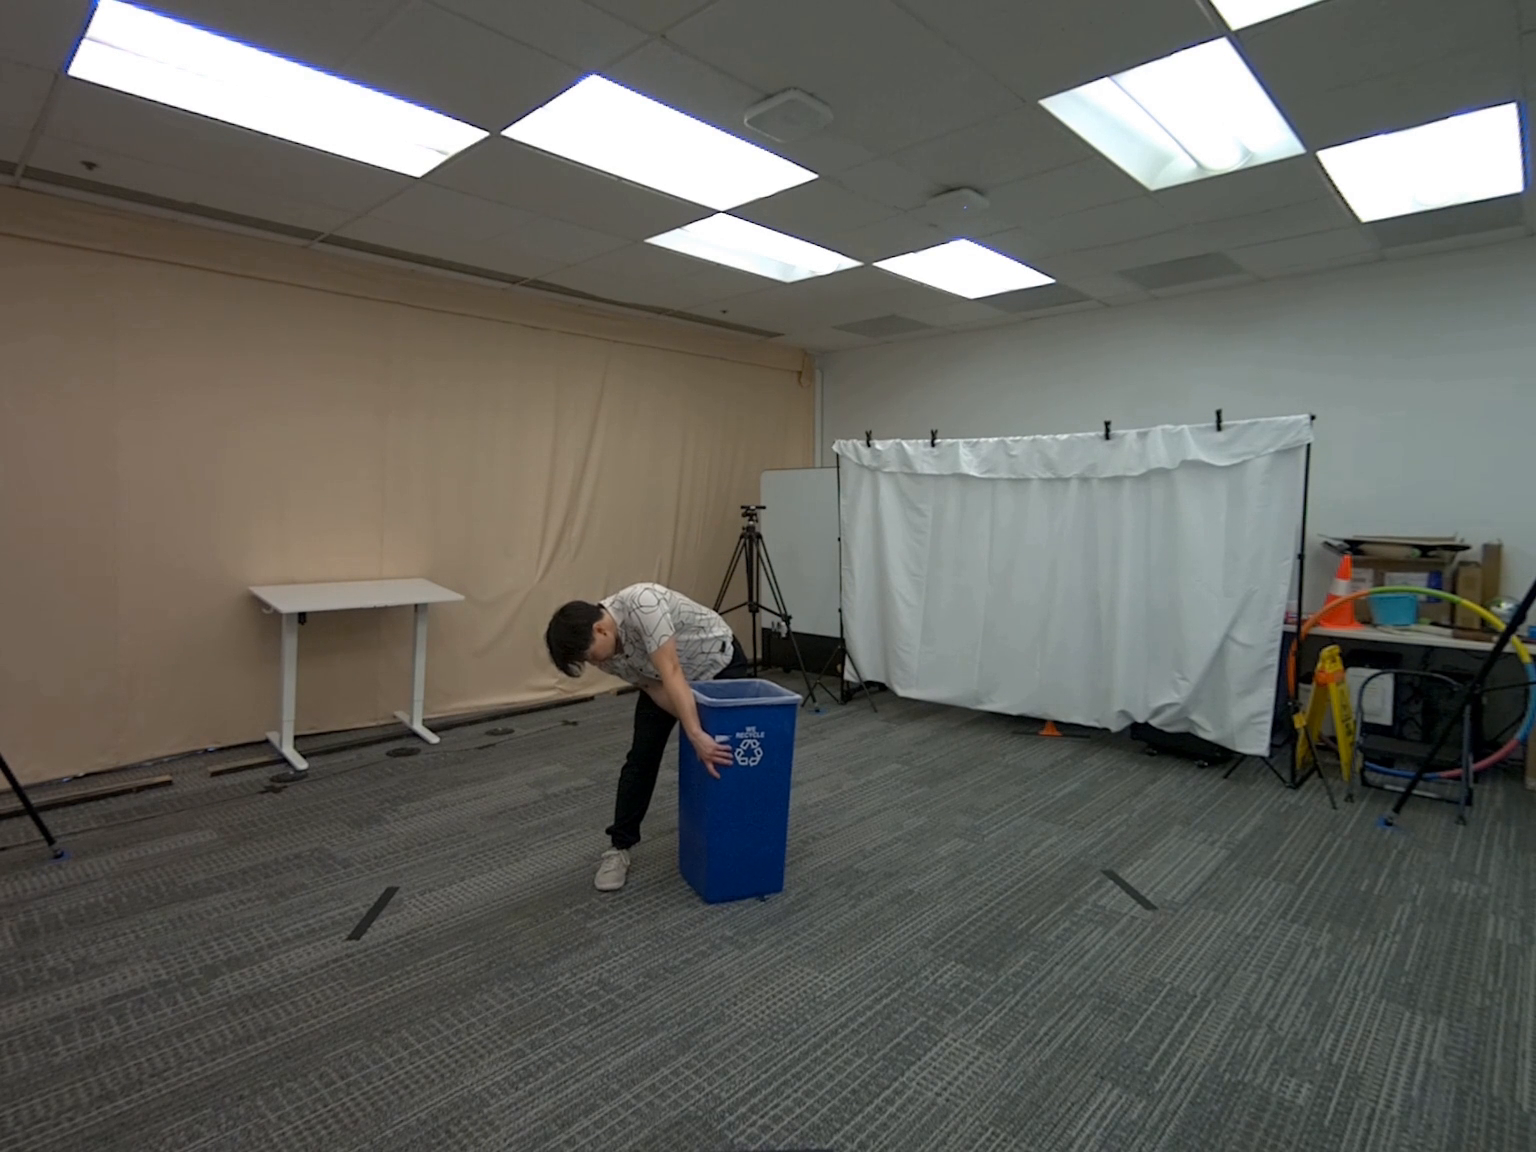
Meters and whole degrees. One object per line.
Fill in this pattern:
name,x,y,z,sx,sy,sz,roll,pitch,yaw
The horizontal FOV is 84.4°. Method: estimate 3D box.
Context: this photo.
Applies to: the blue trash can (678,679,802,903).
blue trash can,-0.116,0.773,3.106,0.369,0.713,0.384,1,2,-26
